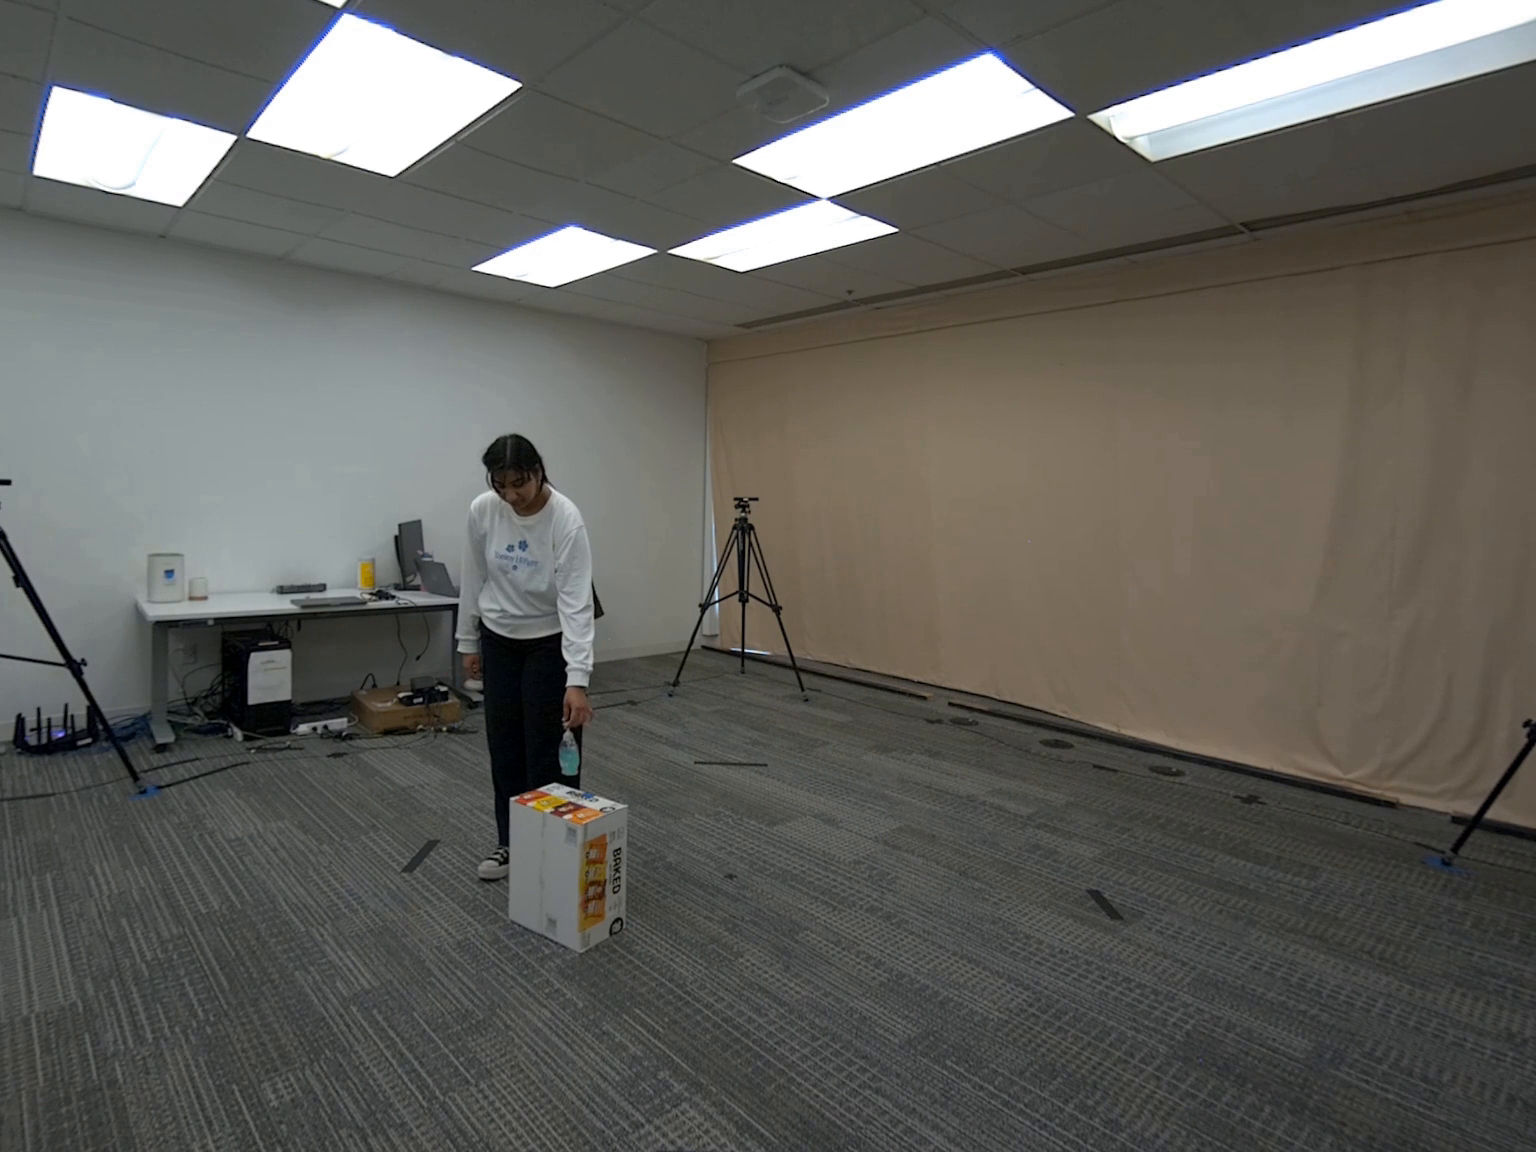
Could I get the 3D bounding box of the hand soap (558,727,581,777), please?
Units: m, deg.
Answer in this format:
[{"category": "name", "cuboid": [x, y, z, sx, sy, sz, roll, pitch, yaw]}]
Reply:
[{"category": "hand soap", "cuboid": [-0.654, 0.565, 2.755, 0.086, 0.168, 0.042, -2, 3, 33]}]
